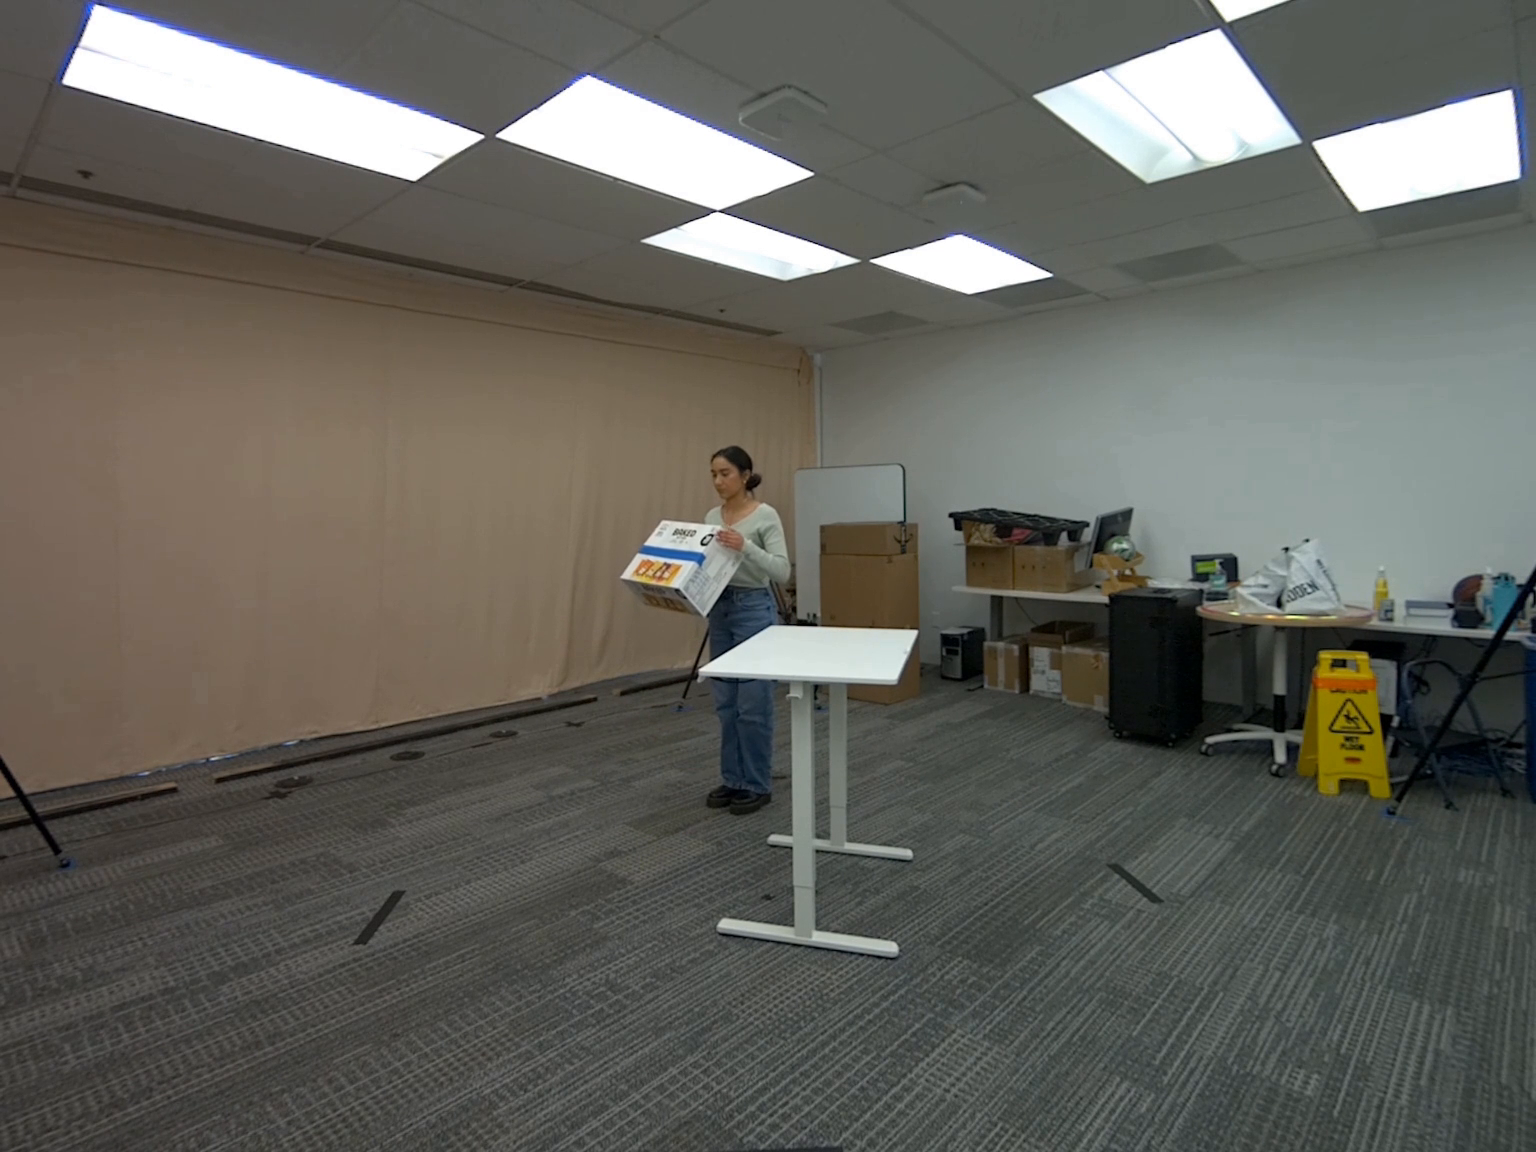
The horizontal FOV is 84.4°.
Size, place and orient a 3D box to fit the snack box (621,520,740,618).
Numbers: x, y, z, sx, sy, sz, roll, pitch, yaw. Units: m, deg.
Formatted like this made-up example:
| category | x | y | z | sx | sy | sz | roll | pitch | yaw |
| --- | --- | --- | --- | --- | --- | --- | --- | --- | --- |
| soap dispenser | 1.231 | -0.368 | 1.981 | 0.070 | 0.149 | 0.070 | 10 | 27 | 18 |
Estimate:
| category | x | y | z | sx | sy | sz | roll | pitch | yaw |
| --- | --- | --- | --- | --- | --- | --- | --- | --- | --- |
| snack box | -0.367 | -0.035 | 3.669 | 0.419 | 0.340 | 0.199 | 8 | -34 | 45 |
